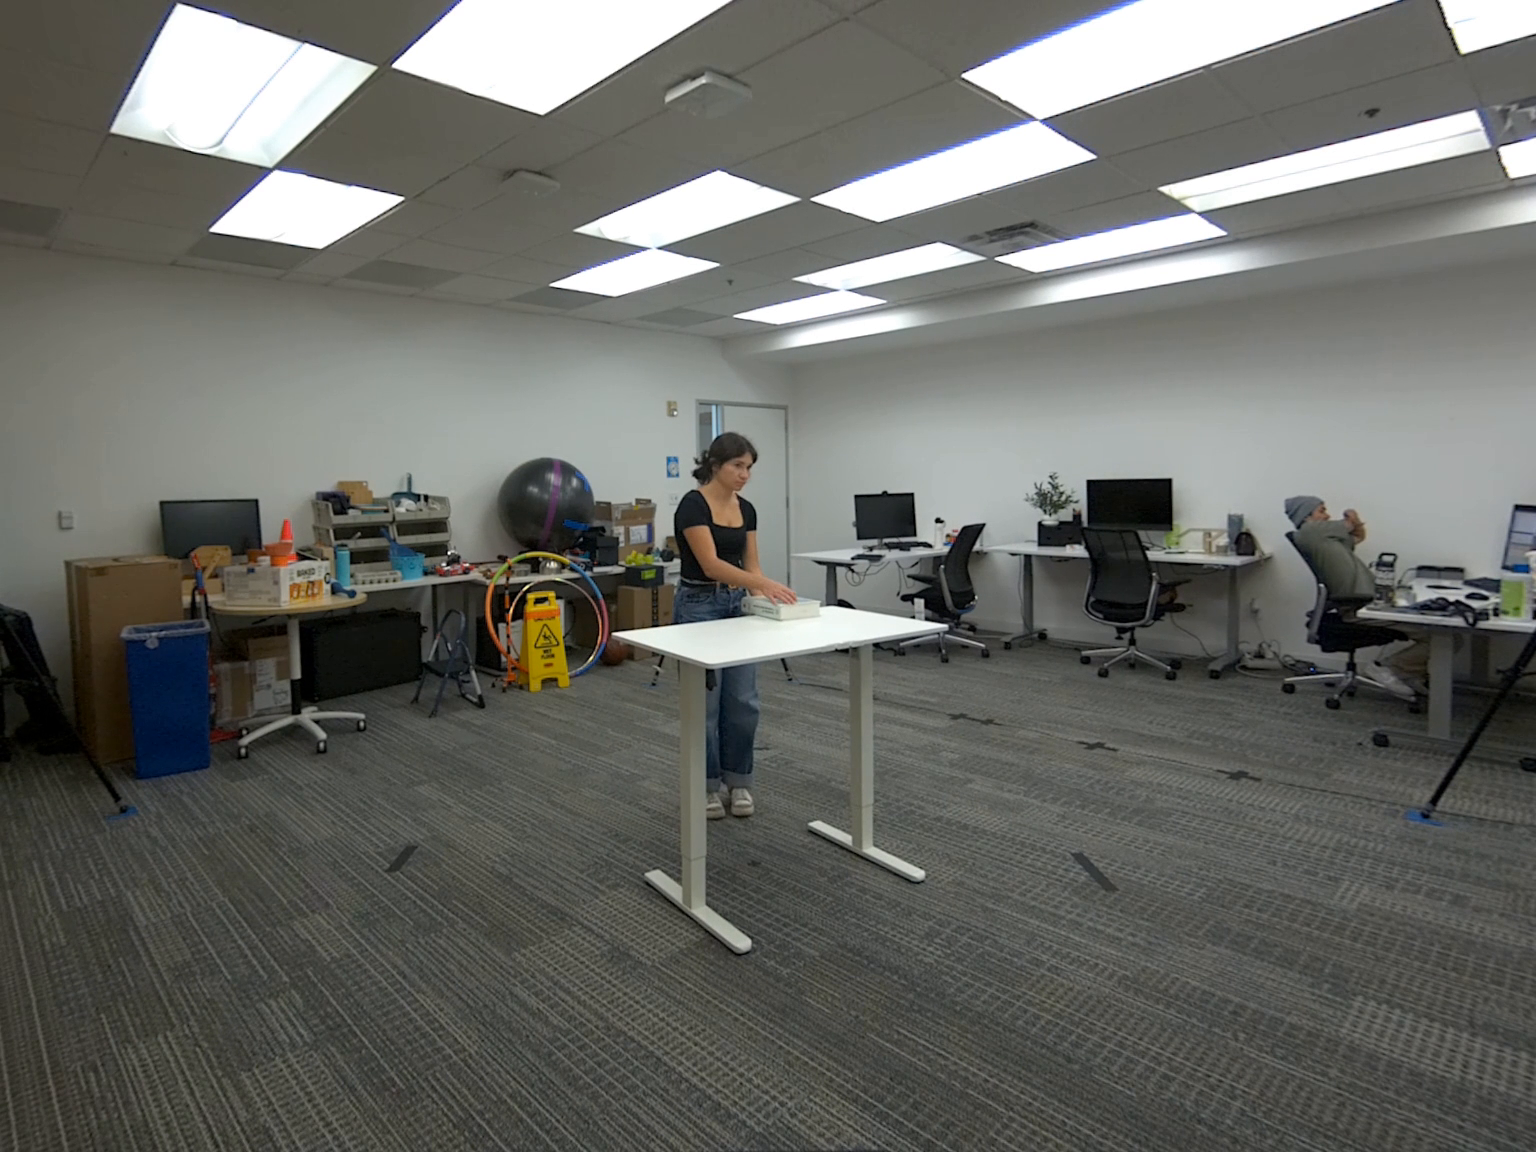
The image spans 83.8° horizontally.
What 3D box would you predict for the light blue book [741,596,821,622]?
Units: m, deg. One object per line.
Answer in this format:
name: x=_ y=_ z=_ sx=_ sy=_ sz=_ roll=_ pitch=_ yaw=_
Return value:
light blue book: x=0.057 y=0.119 z=3.240 sx=0.186 sy=0.059 sz=0.269 roll=-4 pitch=7 yaw=-34
